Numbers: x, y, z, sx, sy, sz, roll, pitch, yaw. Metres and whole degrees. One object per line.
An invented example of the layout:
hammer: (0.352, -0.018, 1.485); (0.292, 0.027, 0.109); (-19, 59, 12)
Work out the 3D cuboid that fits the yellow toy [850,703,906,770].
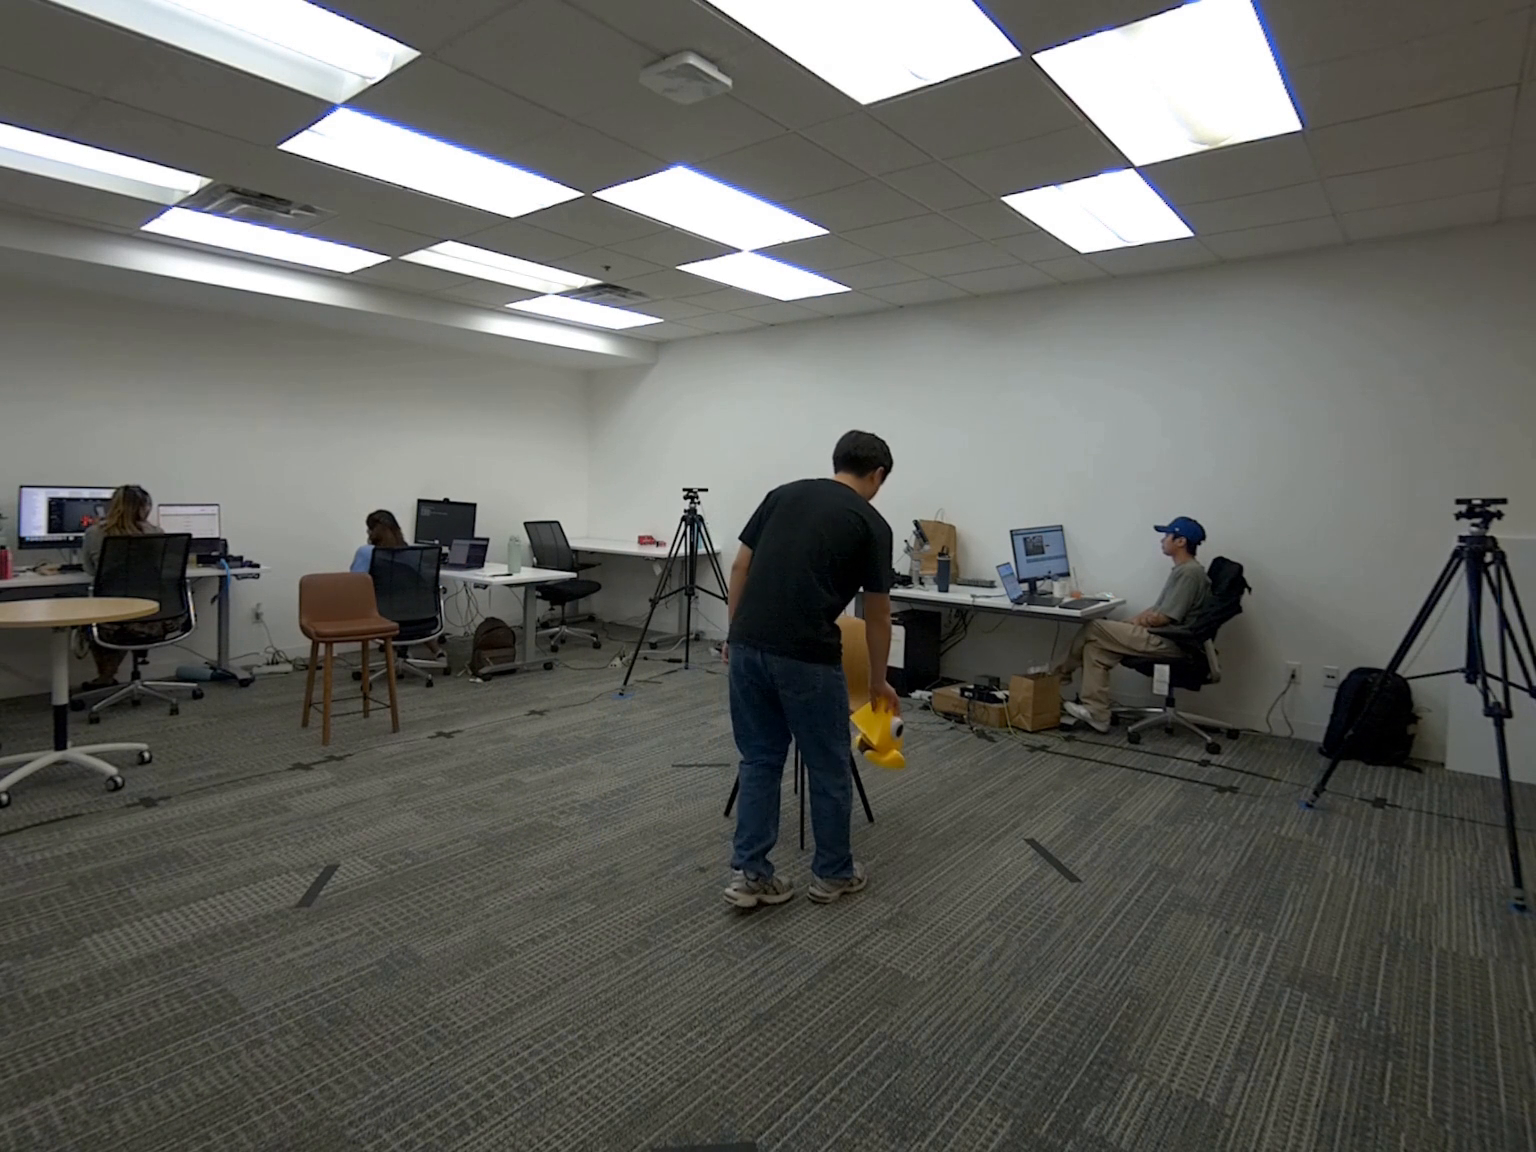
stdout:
yellow toy: (0.412, 0.531, 3.027); (0.188, 0.229, 0.212); (12, 13, -23)
